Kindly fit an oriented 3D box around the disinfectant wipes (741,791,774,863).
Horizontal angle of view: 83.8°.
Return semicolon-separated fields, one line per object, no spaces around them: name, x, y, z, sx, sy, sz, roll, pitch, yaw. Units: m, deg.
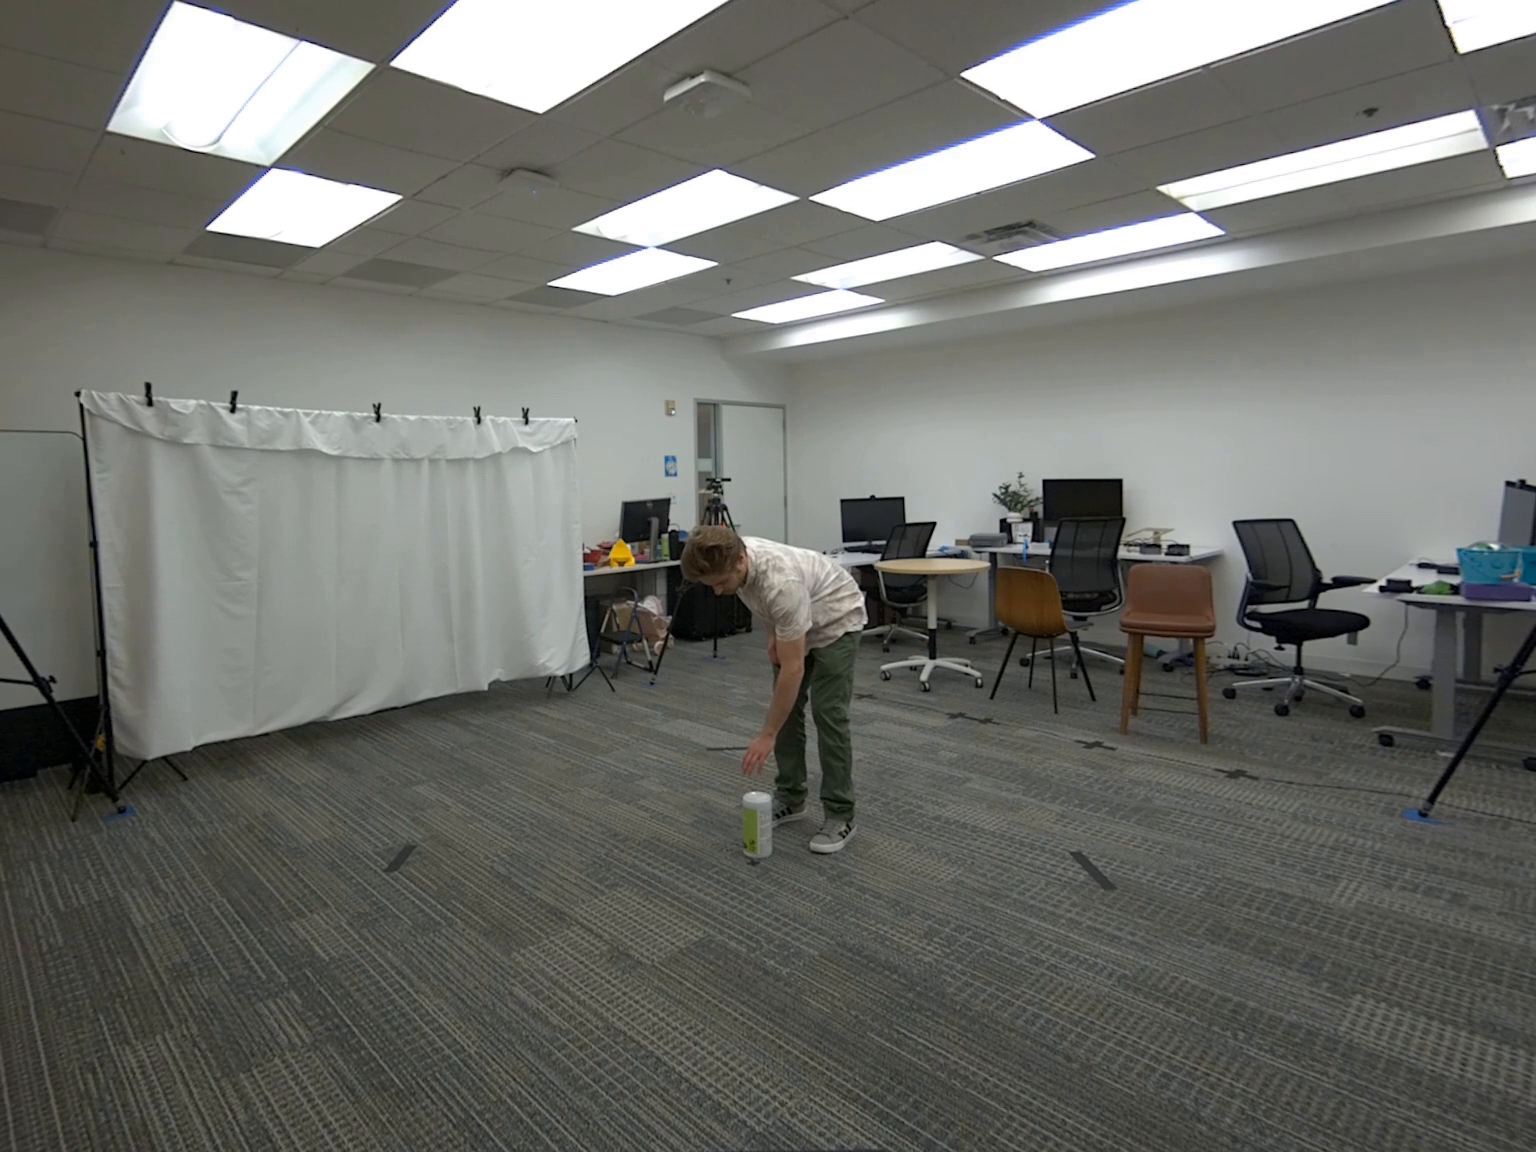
disinfectant wipes;-0.035;0.929;3.183;0.118;0.217;0.118;0;4;-2
